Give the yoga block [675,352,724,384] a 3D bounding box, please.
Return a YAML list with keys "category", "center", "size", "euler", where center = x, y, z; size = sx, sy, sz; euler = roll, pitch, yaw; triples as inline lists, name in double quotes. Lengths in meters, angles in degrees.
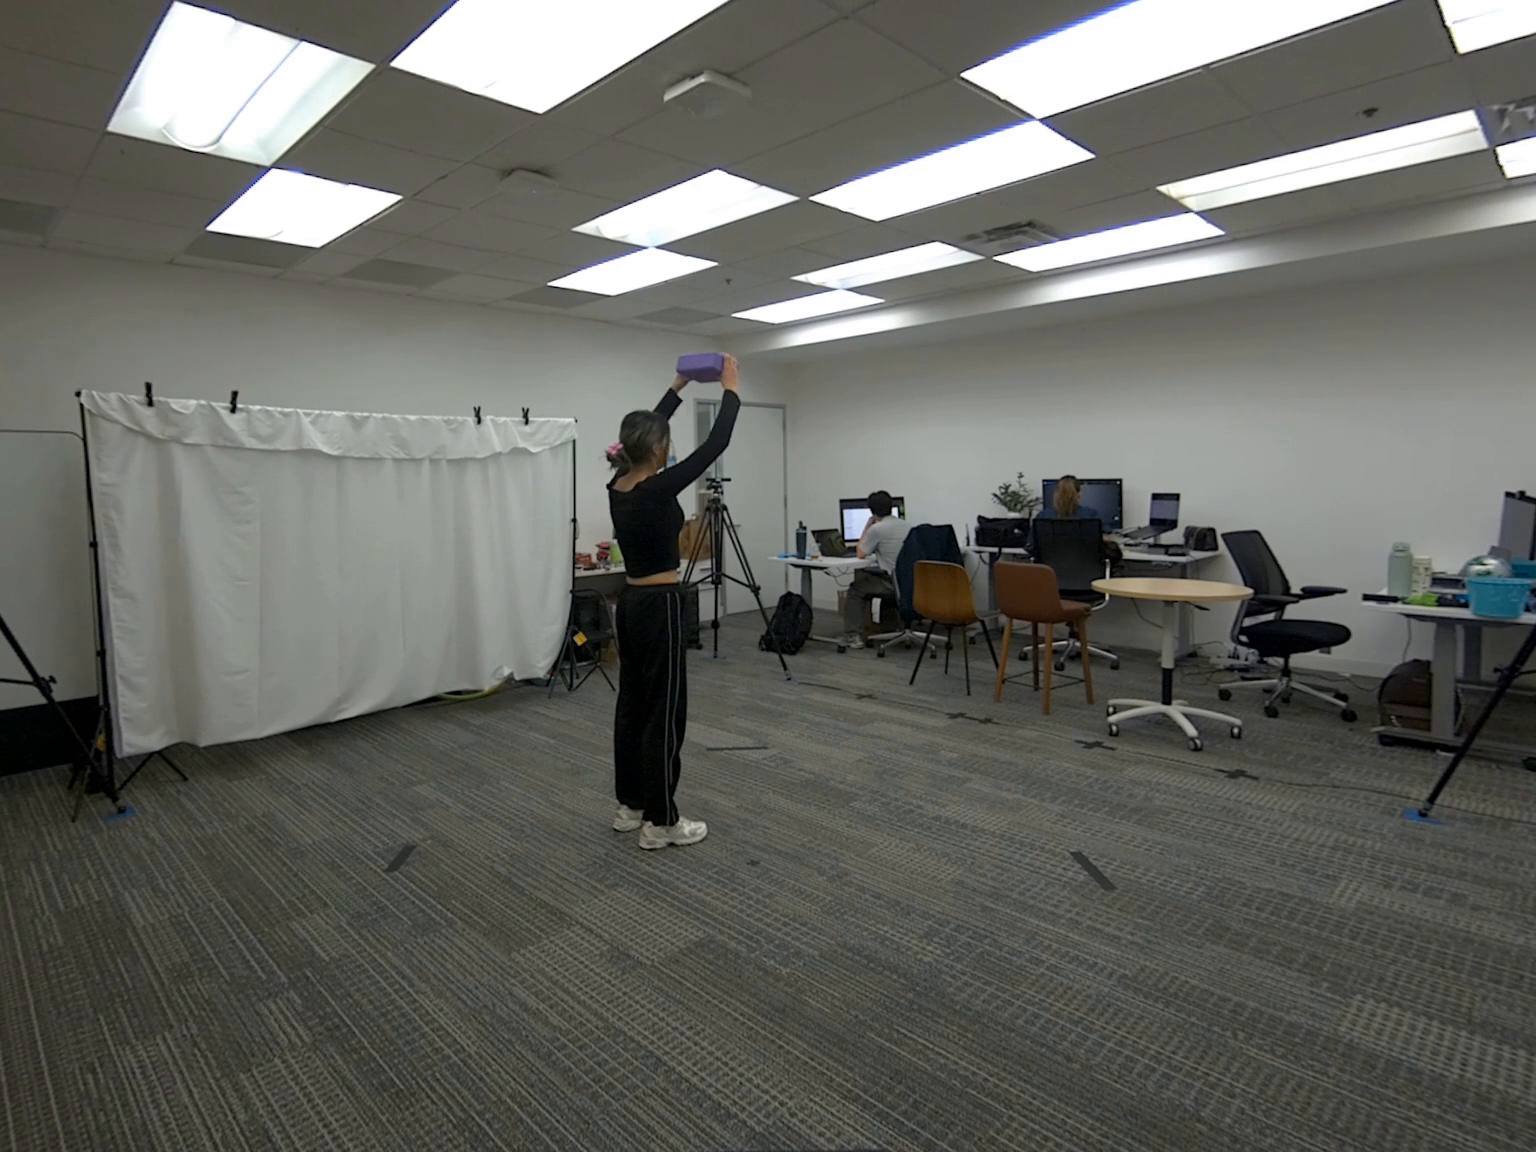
- category: "yoga block"
  center: [-0.249, -0.845, 3.484]
  size: [0.144, 0.076, 0.237]
  euler: [15, -4, -43]
